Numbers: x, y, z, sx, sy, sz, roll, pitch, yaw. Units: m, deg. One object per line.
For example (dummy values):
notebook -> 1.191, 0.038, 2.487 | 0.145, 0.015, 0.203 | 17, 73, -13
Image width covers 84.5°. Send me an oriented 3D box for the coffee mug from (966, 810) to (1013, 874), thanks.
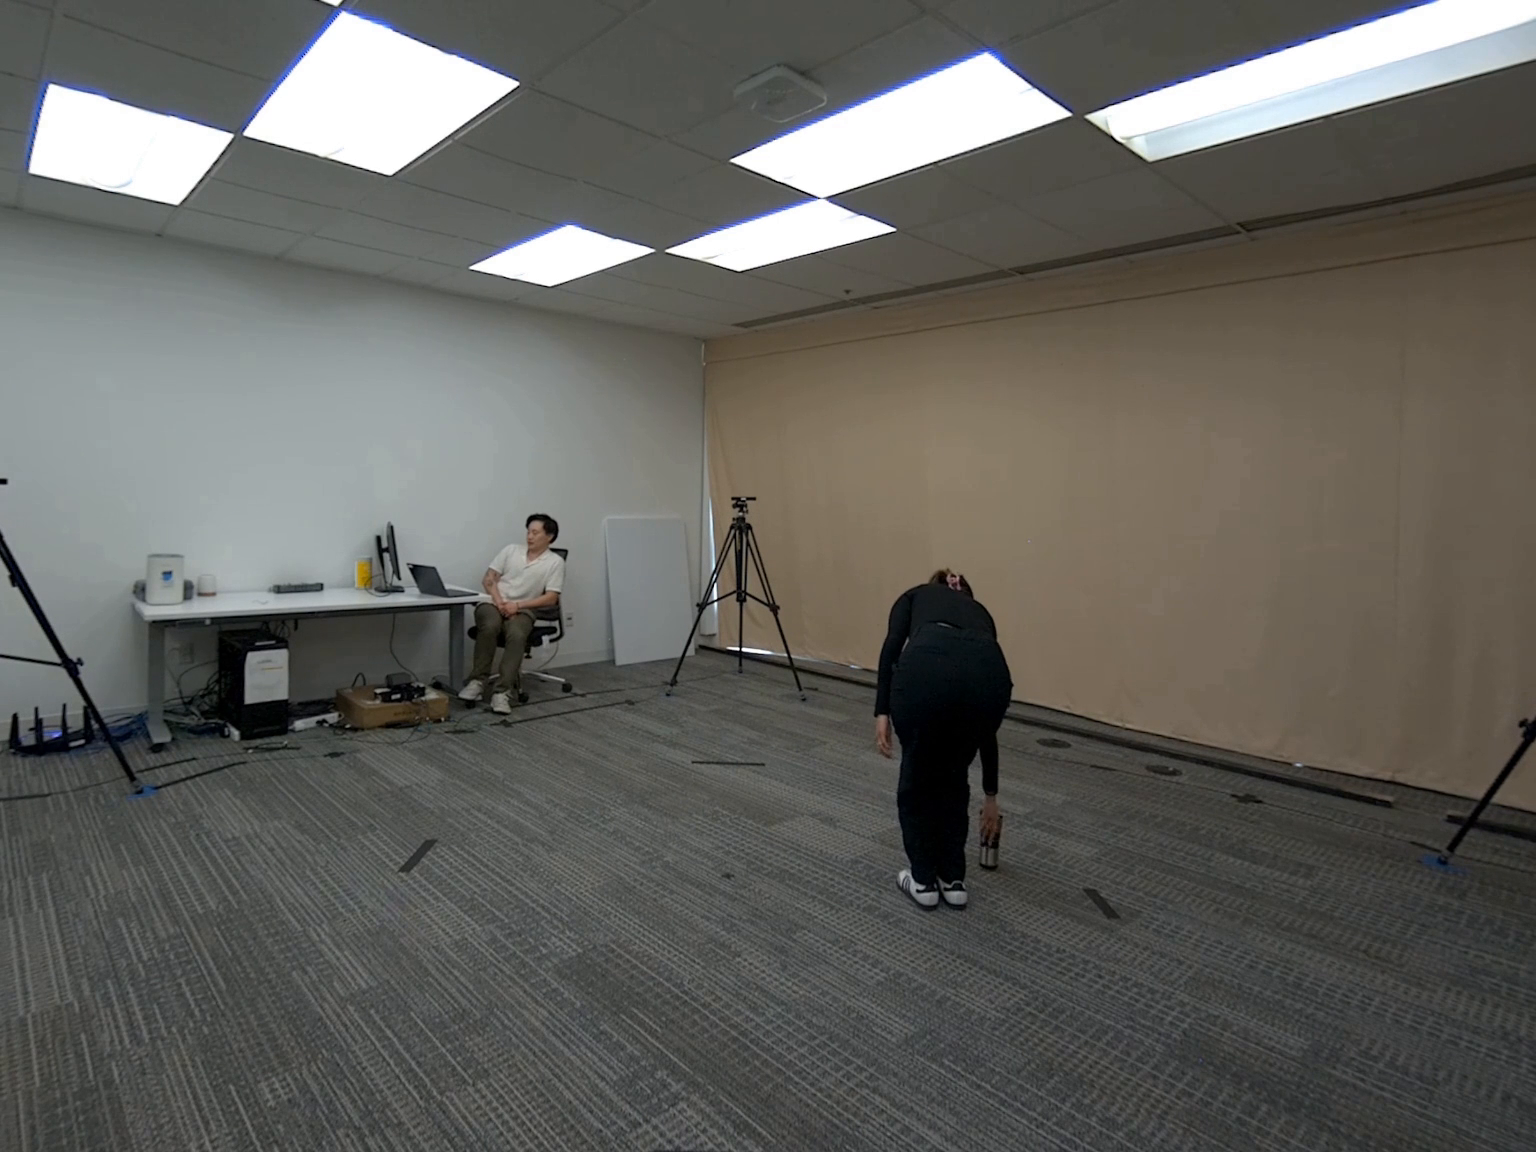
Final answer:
coffee mug -> 0.838, 1.003, 3.213 | 0.090, 0.203, 0.118 | 9, -4, 45
